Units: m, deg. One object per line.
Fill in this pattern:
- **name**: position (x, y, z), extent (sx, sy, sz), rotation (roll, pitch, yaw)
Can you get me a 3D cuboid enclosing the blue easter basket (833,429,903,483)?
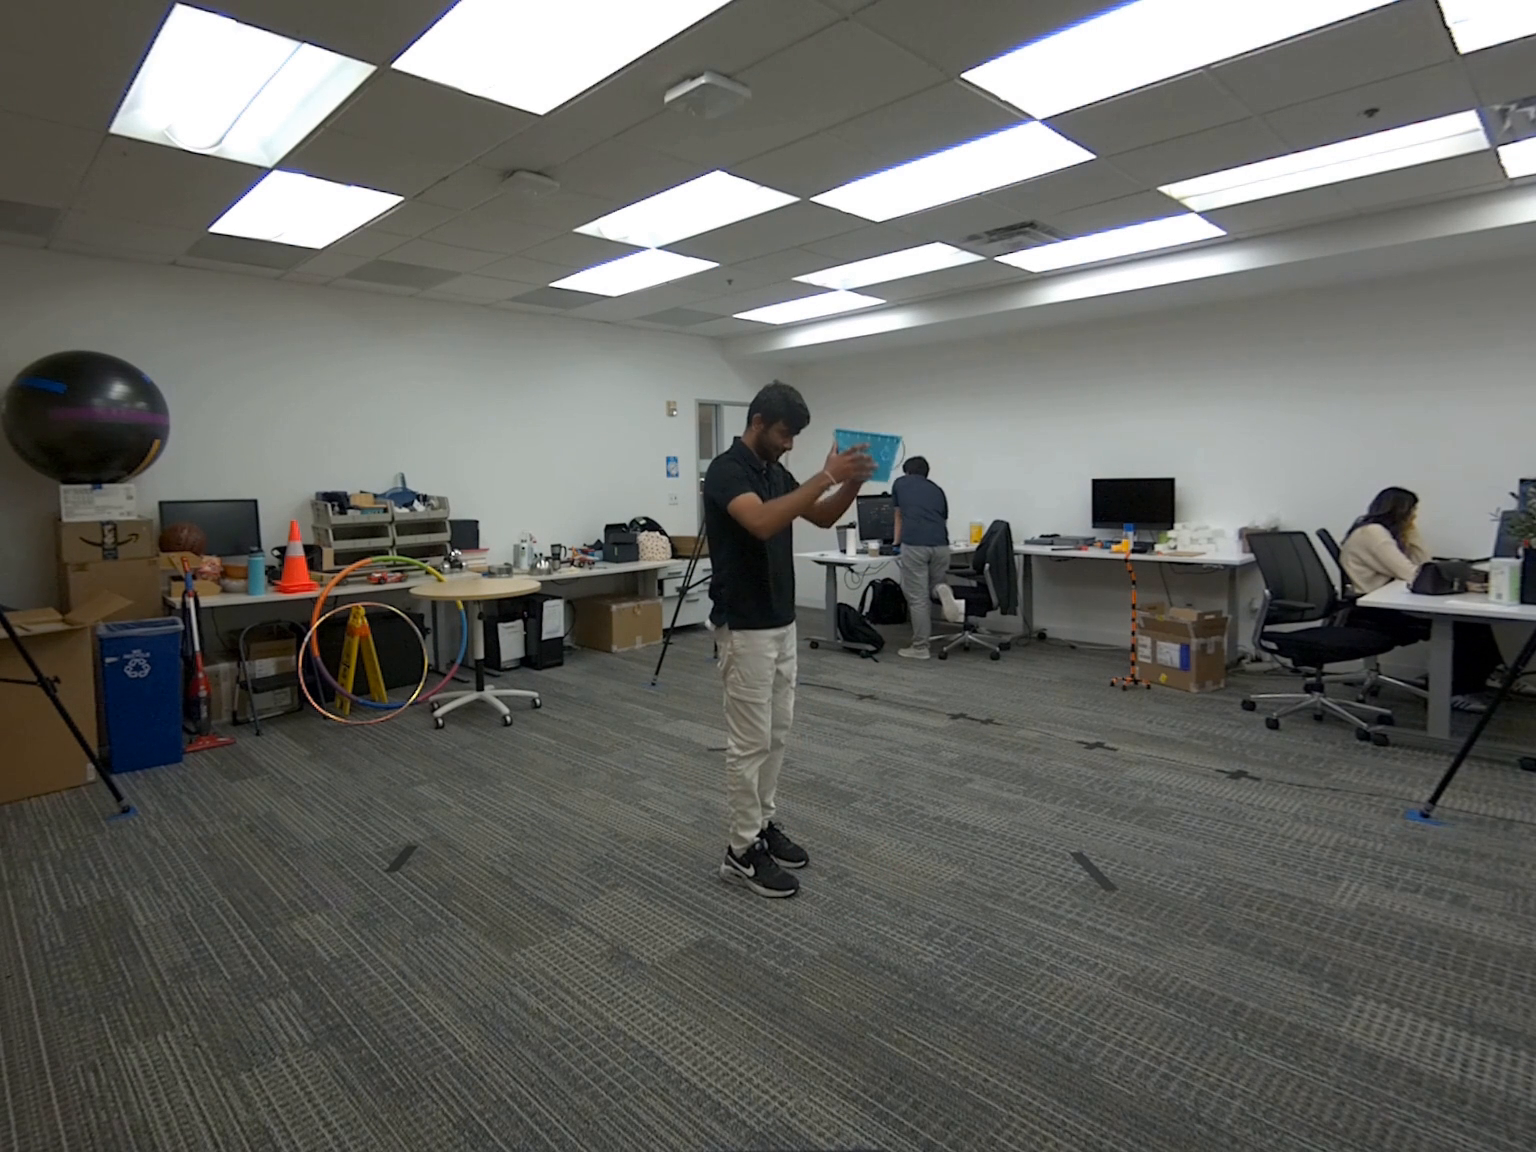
- **blue easter basket**: position (0.316, -0.390, 2.815), extent (0.243, 0.154, 0.246), rotation (6, 11, -3)
